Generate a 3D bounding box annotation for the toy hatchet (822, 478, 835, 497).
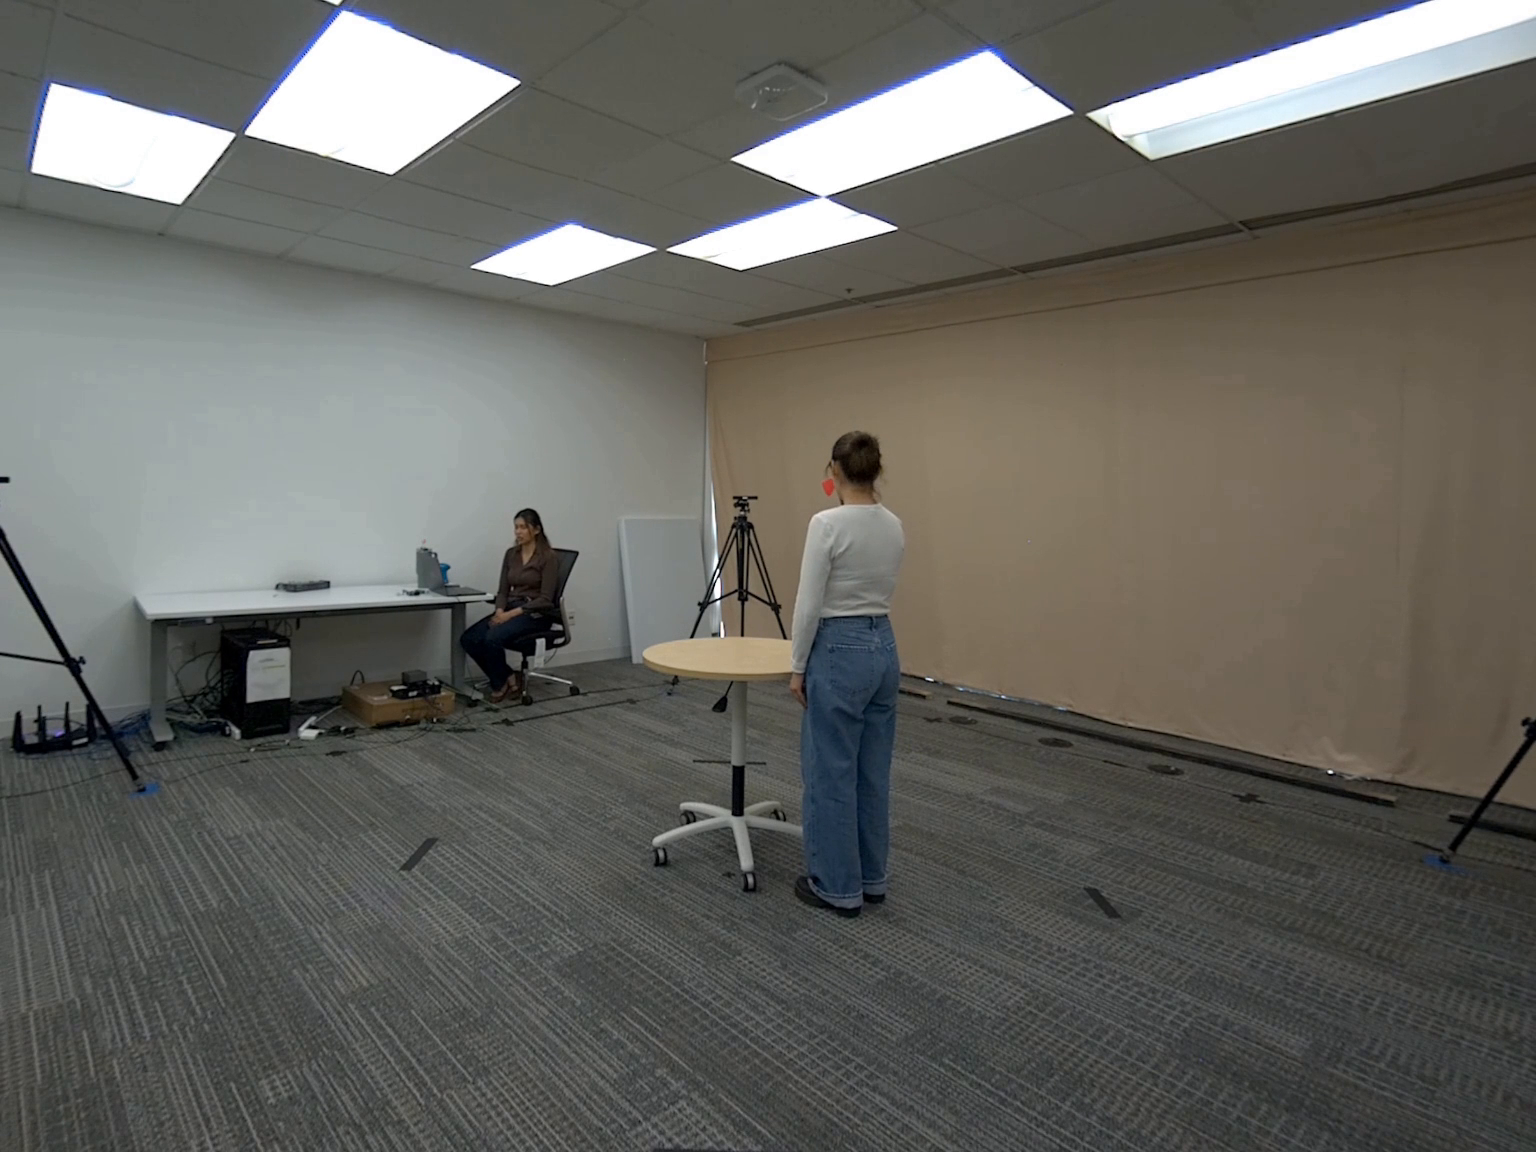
[{"bbox_3d":[0.261,-0.260,3.193,0.130,0.272,0.030,10,-10,-10],"label":"toy hatchet"}]
